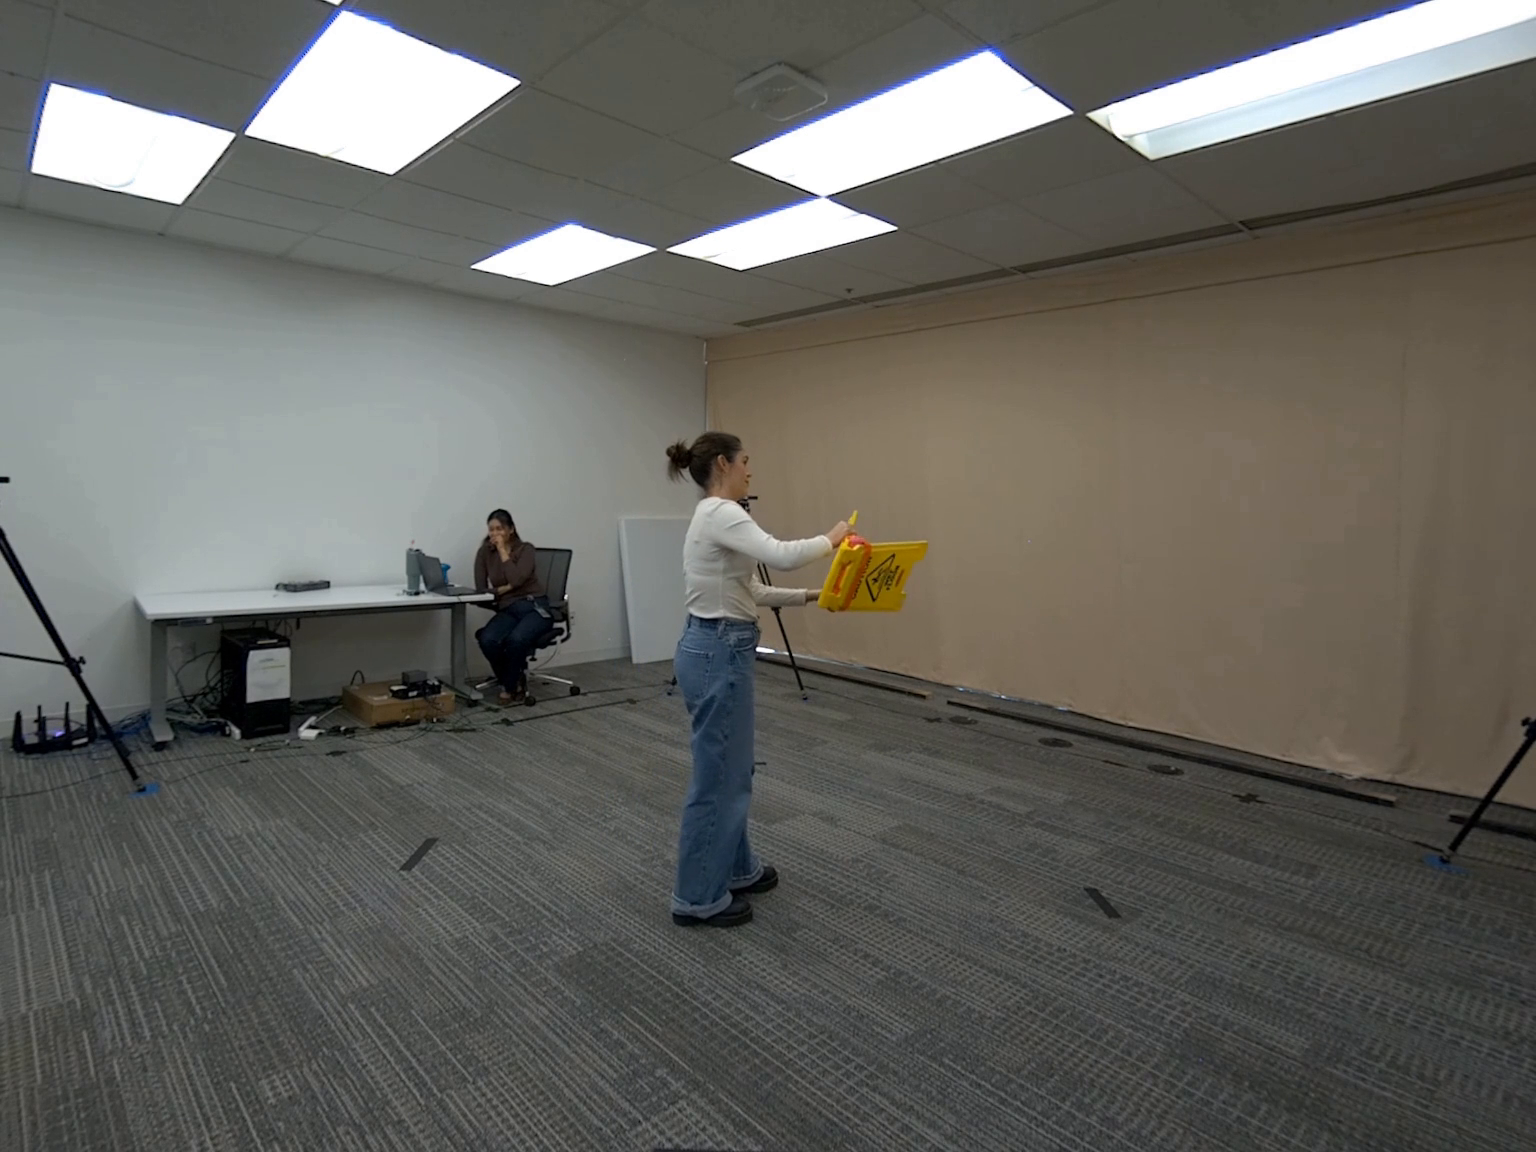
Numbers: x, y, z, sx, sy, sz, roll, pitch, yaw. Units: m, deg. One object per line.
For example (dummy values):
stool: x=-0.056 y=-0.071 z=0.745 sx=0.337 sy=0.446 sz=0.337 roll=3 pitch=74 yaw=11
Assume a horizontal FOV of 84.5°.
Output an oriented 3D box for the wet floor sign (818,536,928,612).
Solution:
wet floor sign: x=0.302 y=-0.022 z=2.808 sx=0.295 sy=0.281 sz=0.638 roll=23 pitch=12 yaw=16
